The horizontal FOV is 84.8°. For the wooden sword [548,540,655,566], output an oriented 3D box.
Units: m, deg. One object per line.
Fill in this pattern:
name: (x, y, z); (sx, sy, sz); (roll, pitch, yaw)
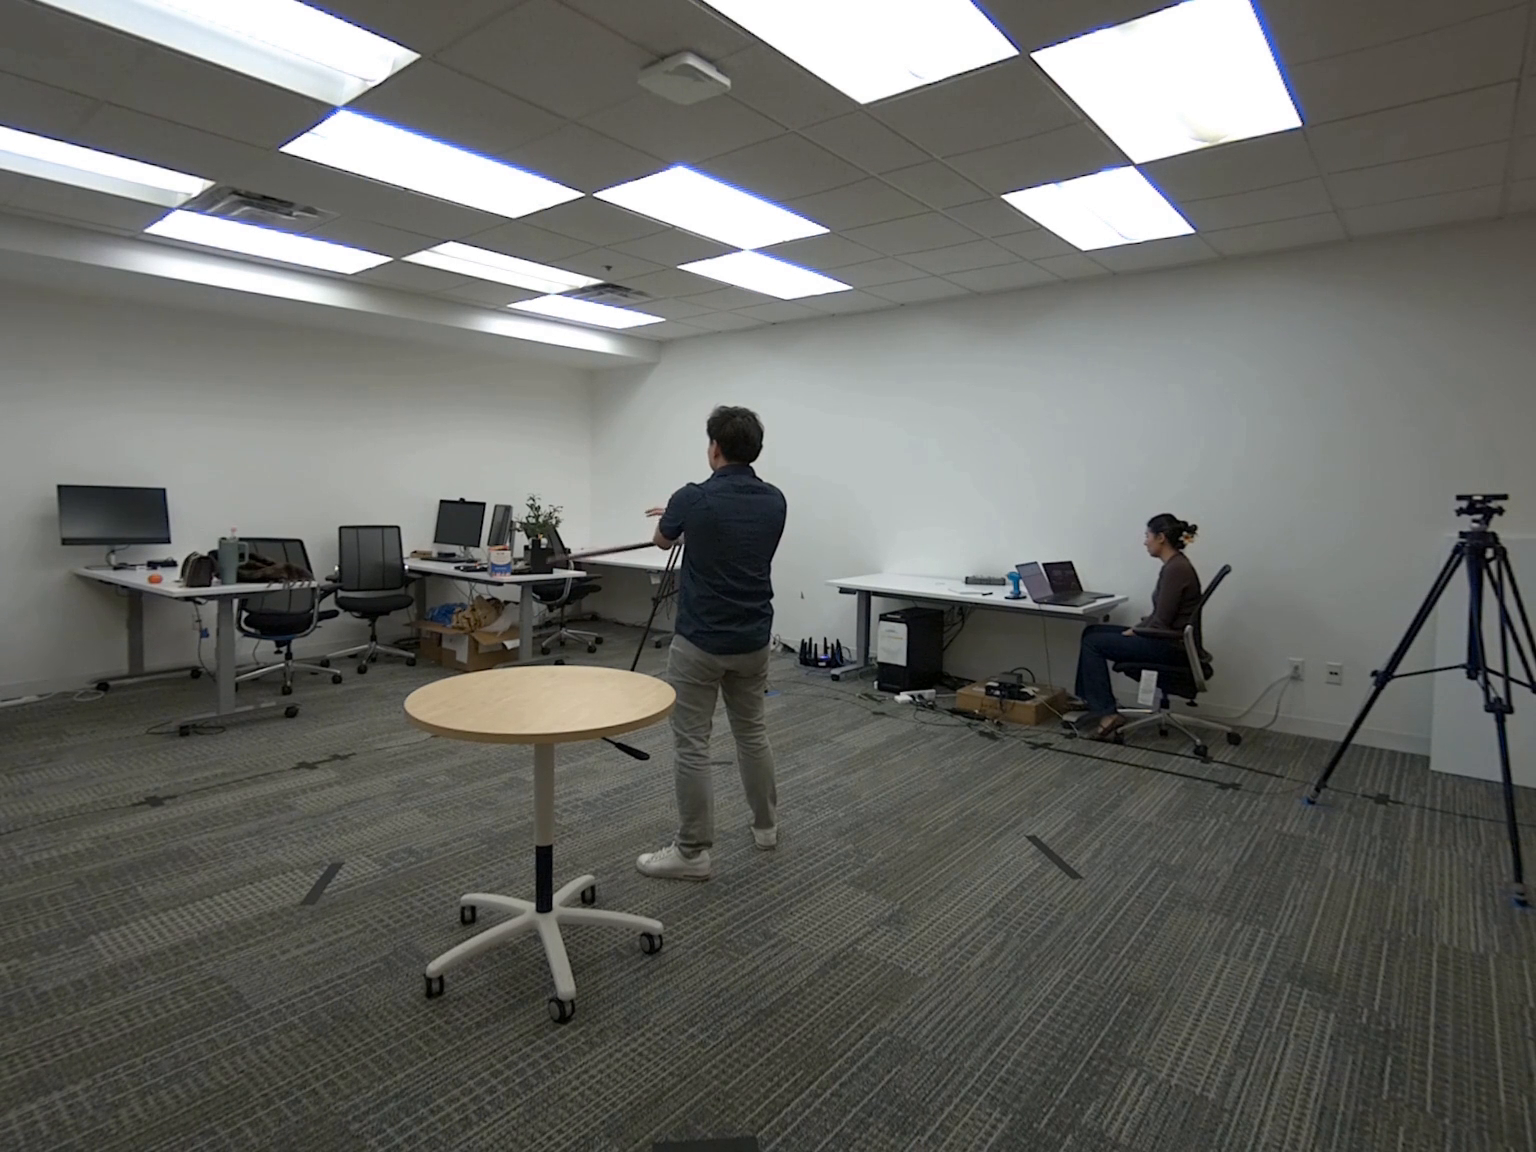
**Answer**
wooden sword: (-0.429, -0.138, 3.541); (1.006, 0.024, 0.053); (-12, 16, -22)
